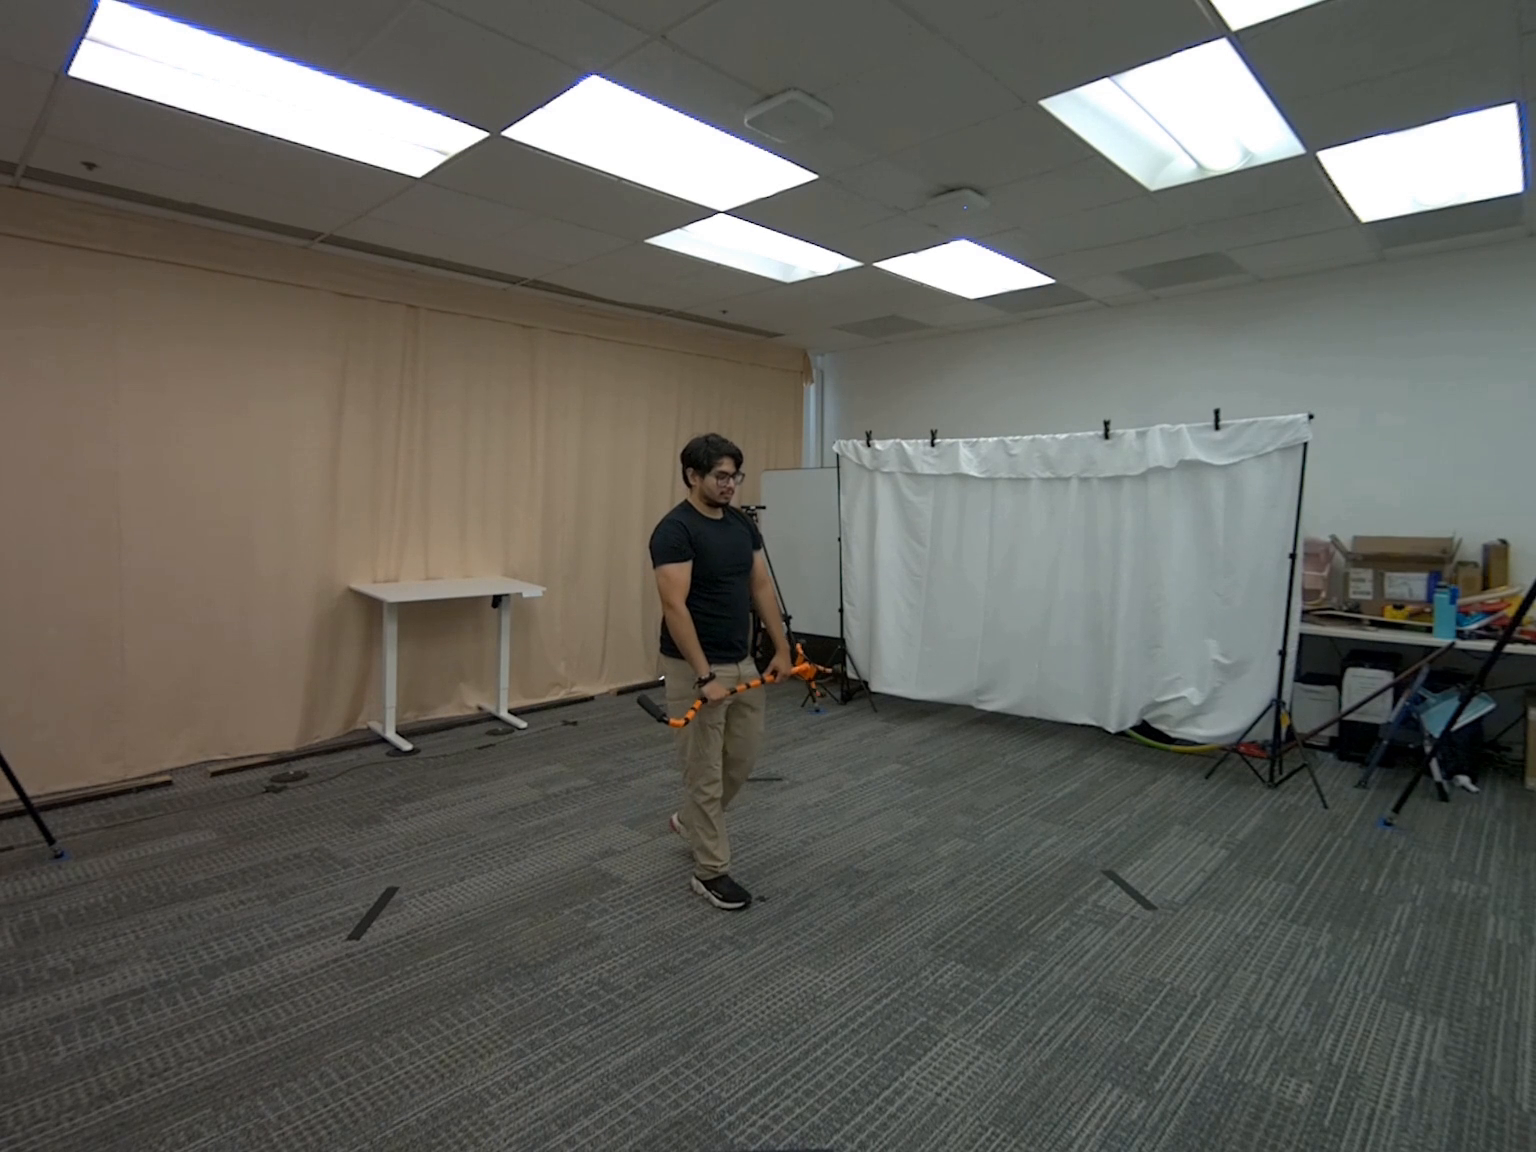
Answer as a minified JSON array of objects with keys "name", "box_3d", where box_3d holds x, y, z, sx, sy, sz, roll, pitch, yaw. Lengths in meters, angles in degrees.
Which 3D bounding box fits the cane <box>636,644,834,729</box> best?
[{"name":"cane","box_3d":[-0.076,0.415,2.973,0.213,0.151,0.882,37,26,29]}]
